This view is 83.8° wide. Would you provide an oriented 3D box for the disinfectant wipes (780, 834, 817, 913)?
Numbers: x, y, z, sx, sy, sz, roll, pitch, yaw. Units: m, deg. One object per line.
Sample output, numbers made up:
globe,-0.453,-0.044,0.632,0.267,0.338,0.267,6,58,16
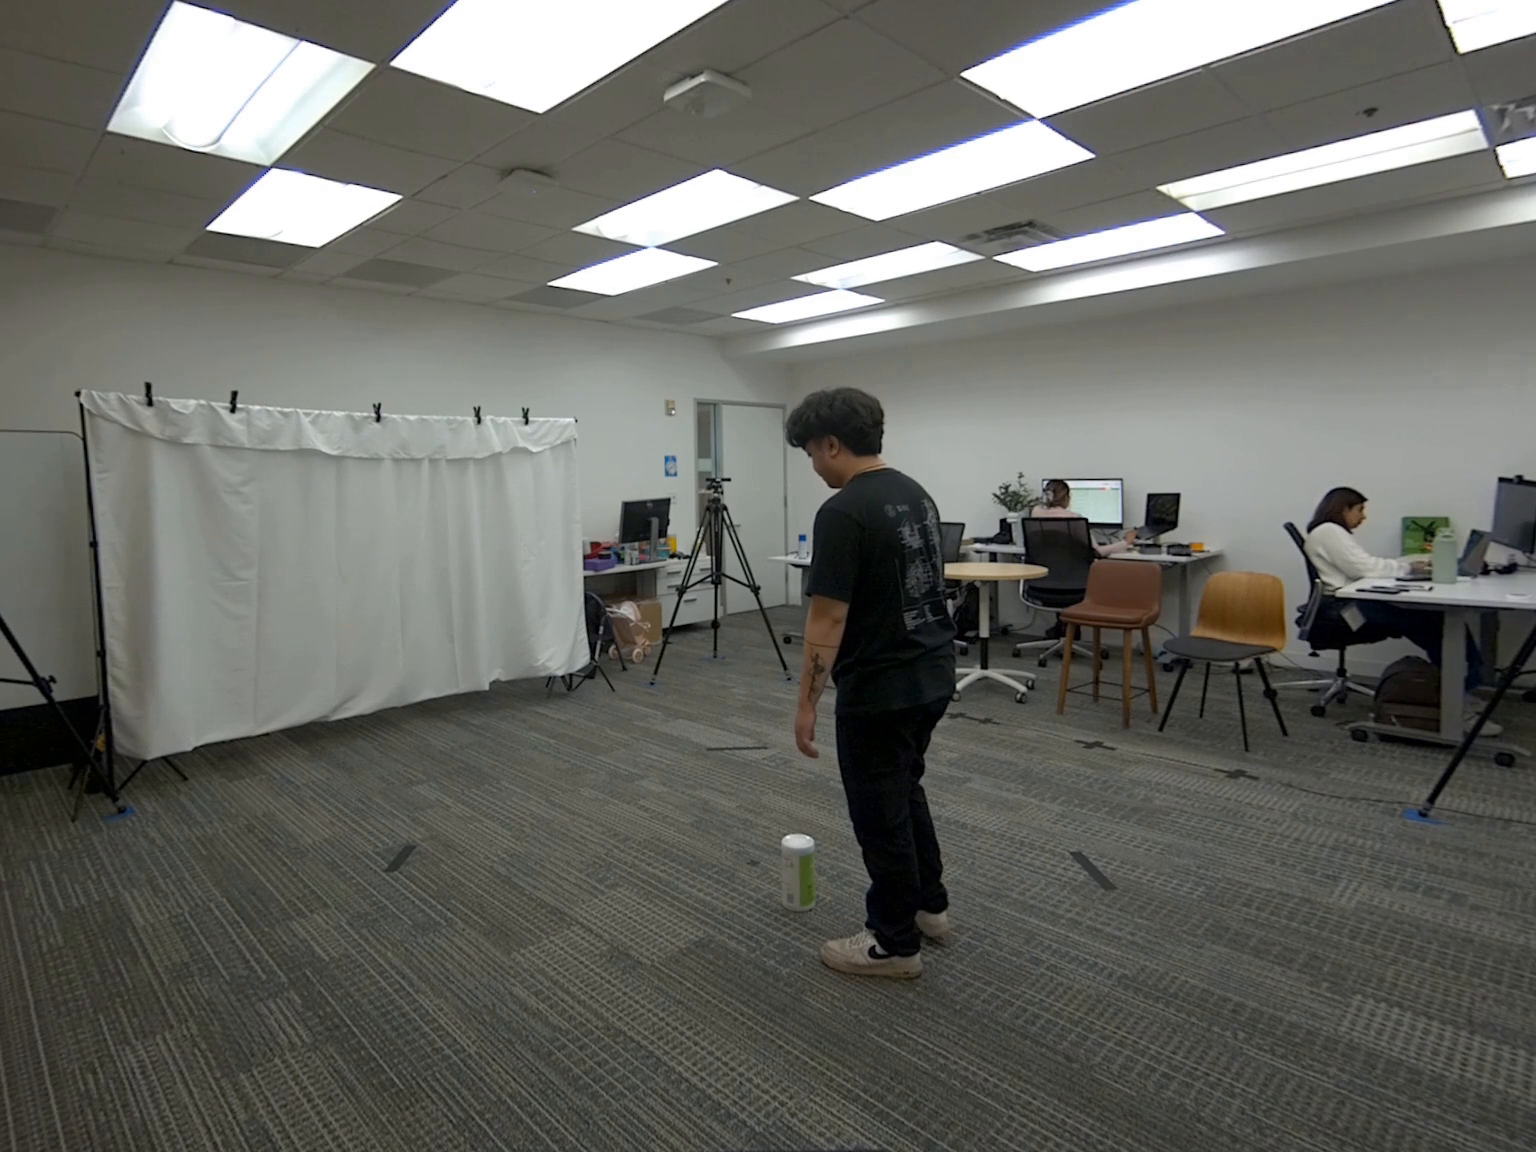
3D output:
disinfectant wipes,0.103,0.969,2.786,0.118,0.217,0.118,-2,4,-2
